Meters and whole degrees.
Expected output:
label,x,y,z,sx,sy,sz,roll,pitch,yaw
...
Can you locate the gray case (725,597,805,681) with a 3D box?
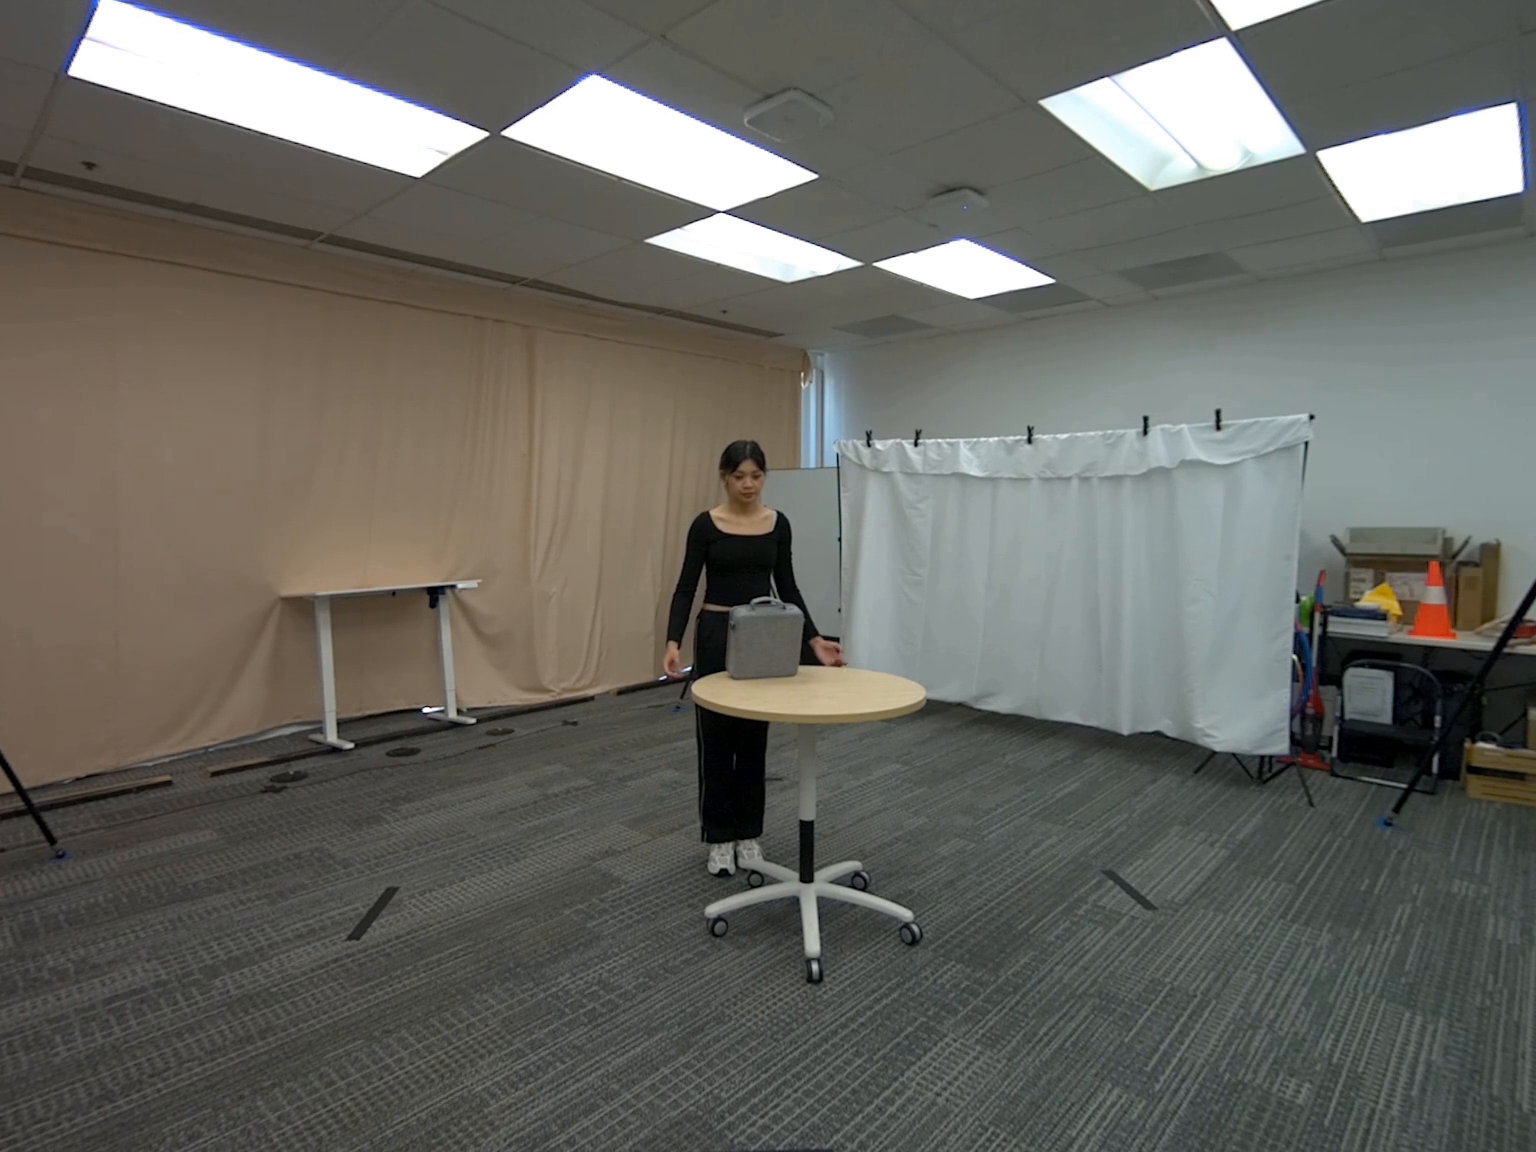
label,x,y,z,sx,sy,sz,roll,pitch,yaw
gray case,-0.011,0.223,2.940,0.252,0.258,0.107,-2,16,-18
